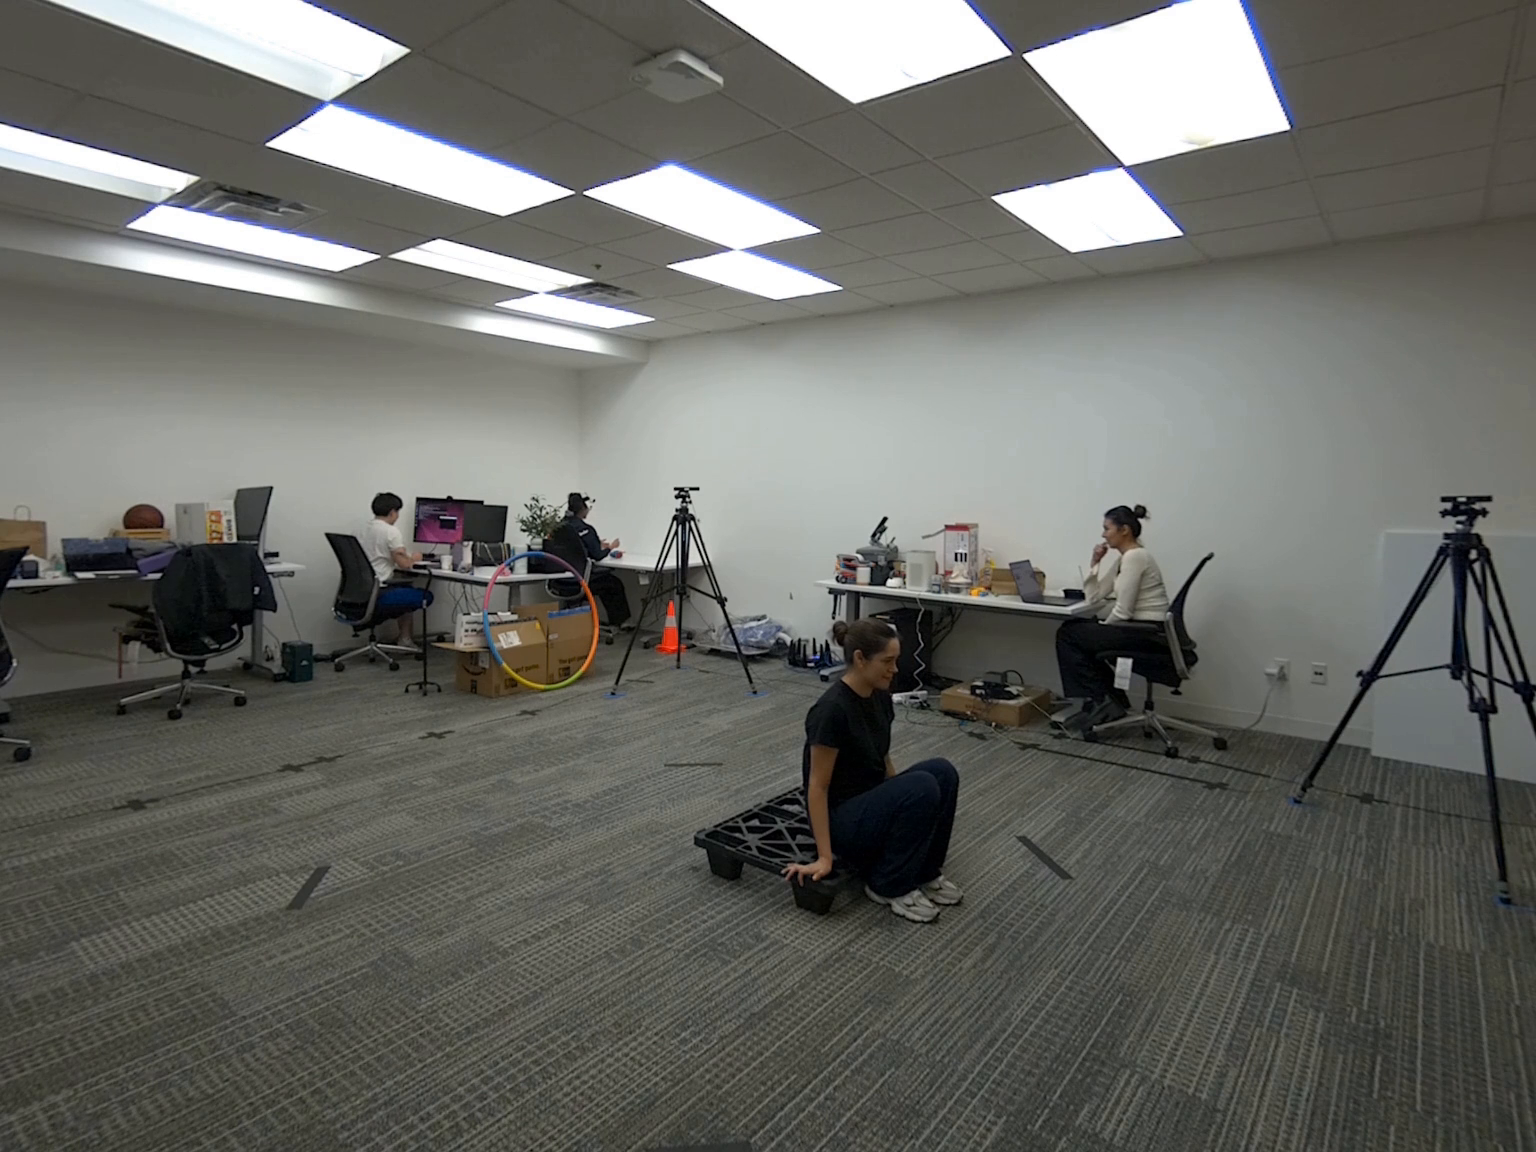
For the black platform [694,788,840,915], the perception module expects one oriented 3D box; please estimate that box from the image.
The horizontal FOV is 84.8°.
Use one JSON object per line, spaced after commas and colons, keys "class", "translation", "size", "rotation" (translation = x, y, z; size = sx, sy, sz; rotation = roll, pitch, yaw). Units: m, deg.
{"class": "black platform", "translation": [0.201, 0.996, 3.212], "size": [0.625, 0.143, 0.782], "rotation": [5, 6, 38]}
